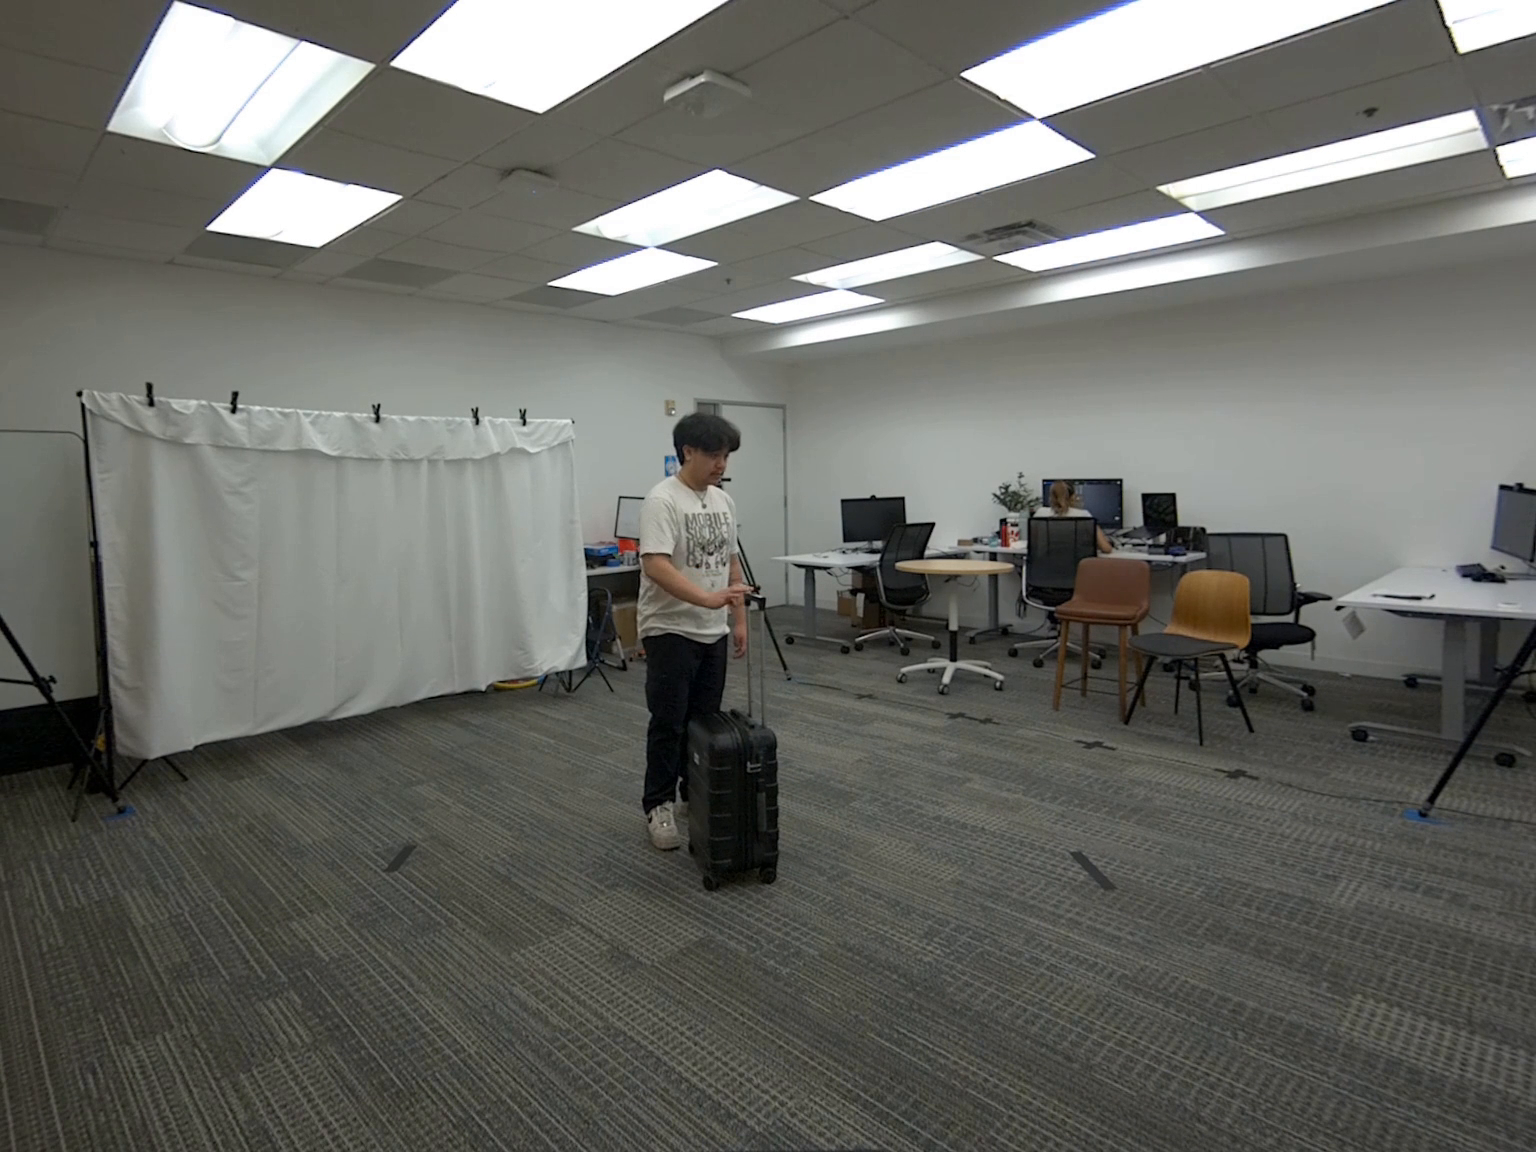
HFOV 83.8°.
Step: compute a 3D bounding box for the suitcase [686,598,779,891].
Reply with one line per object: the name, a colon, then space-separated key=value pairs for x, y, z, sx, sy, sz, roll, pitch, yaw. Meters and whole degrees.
suitcase: x=-0.132 y=0.576 z=3.044 sx=0.253 sy=0.976 sz=0.390 roll=-3 pitch=2 yaw=-16
